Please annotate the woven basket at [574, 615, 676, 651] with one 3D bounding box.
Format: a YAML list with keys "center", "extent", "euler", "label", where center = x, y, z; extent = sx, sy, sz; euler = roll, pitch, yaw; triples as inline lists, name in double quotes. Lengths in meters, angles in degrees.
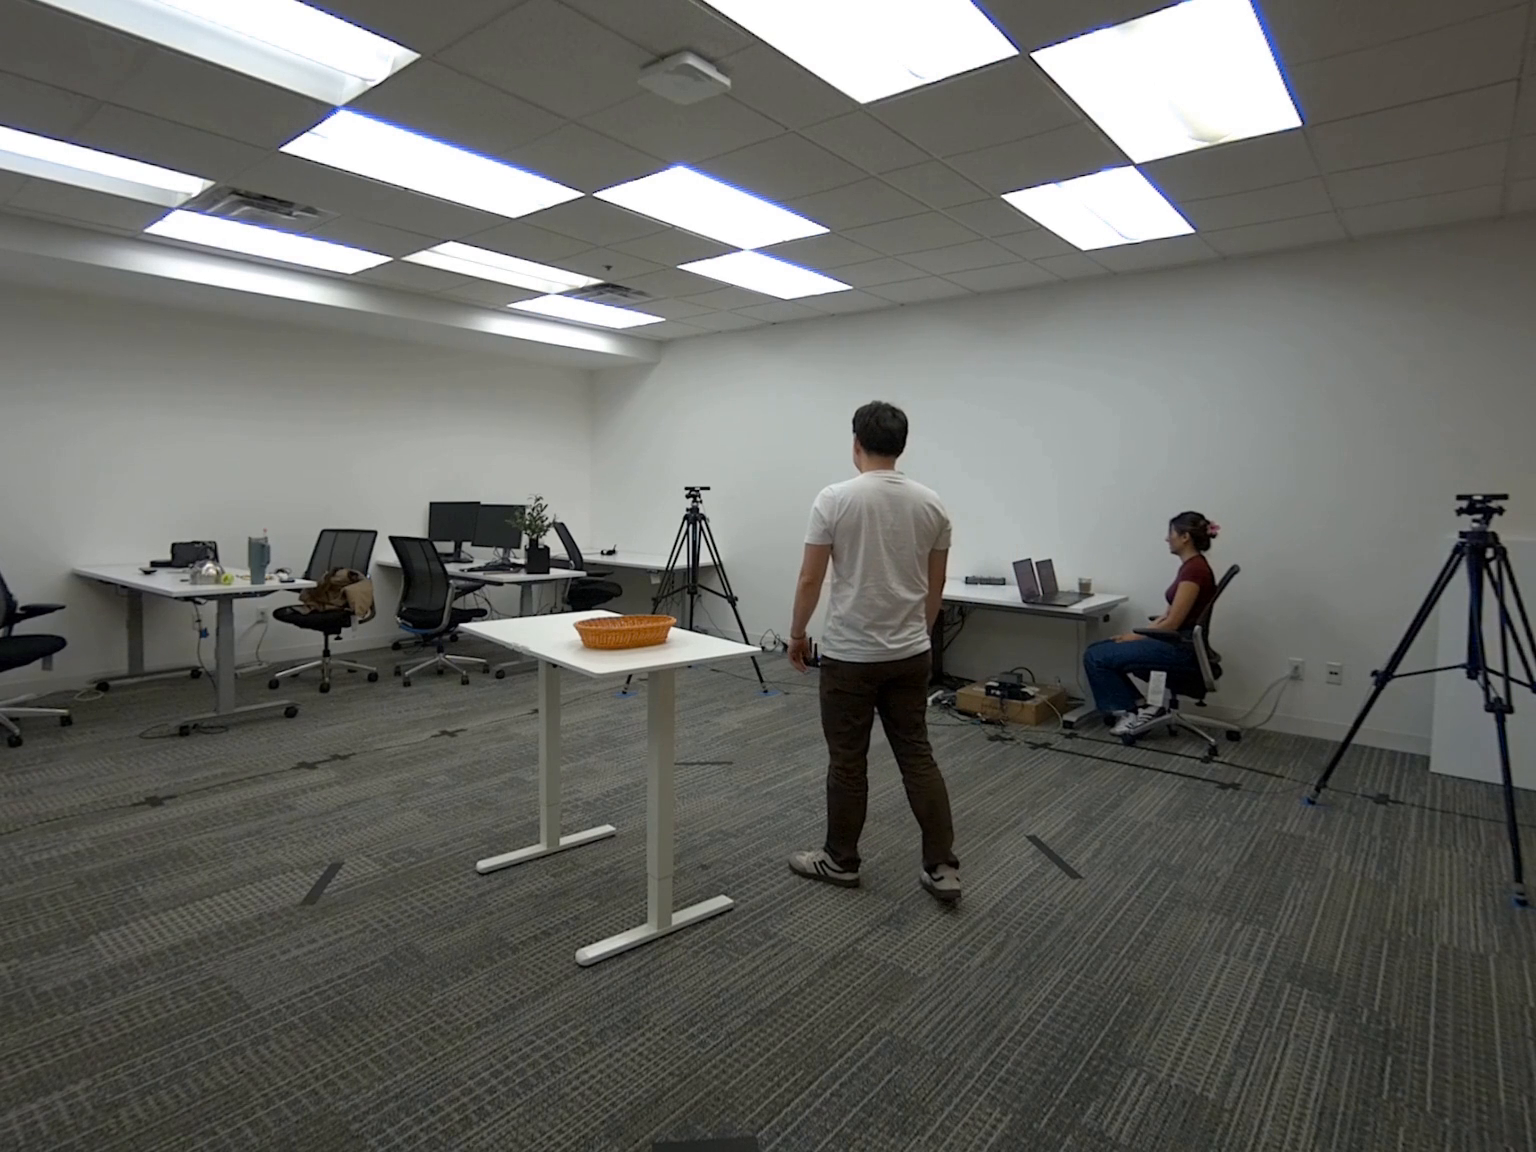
- center: [-0.480, 0.187, 2.759]
  extent: [0.341, 0.073, 0.260]
  euler: [-4, 7, -32]
  label: "woven basket"
